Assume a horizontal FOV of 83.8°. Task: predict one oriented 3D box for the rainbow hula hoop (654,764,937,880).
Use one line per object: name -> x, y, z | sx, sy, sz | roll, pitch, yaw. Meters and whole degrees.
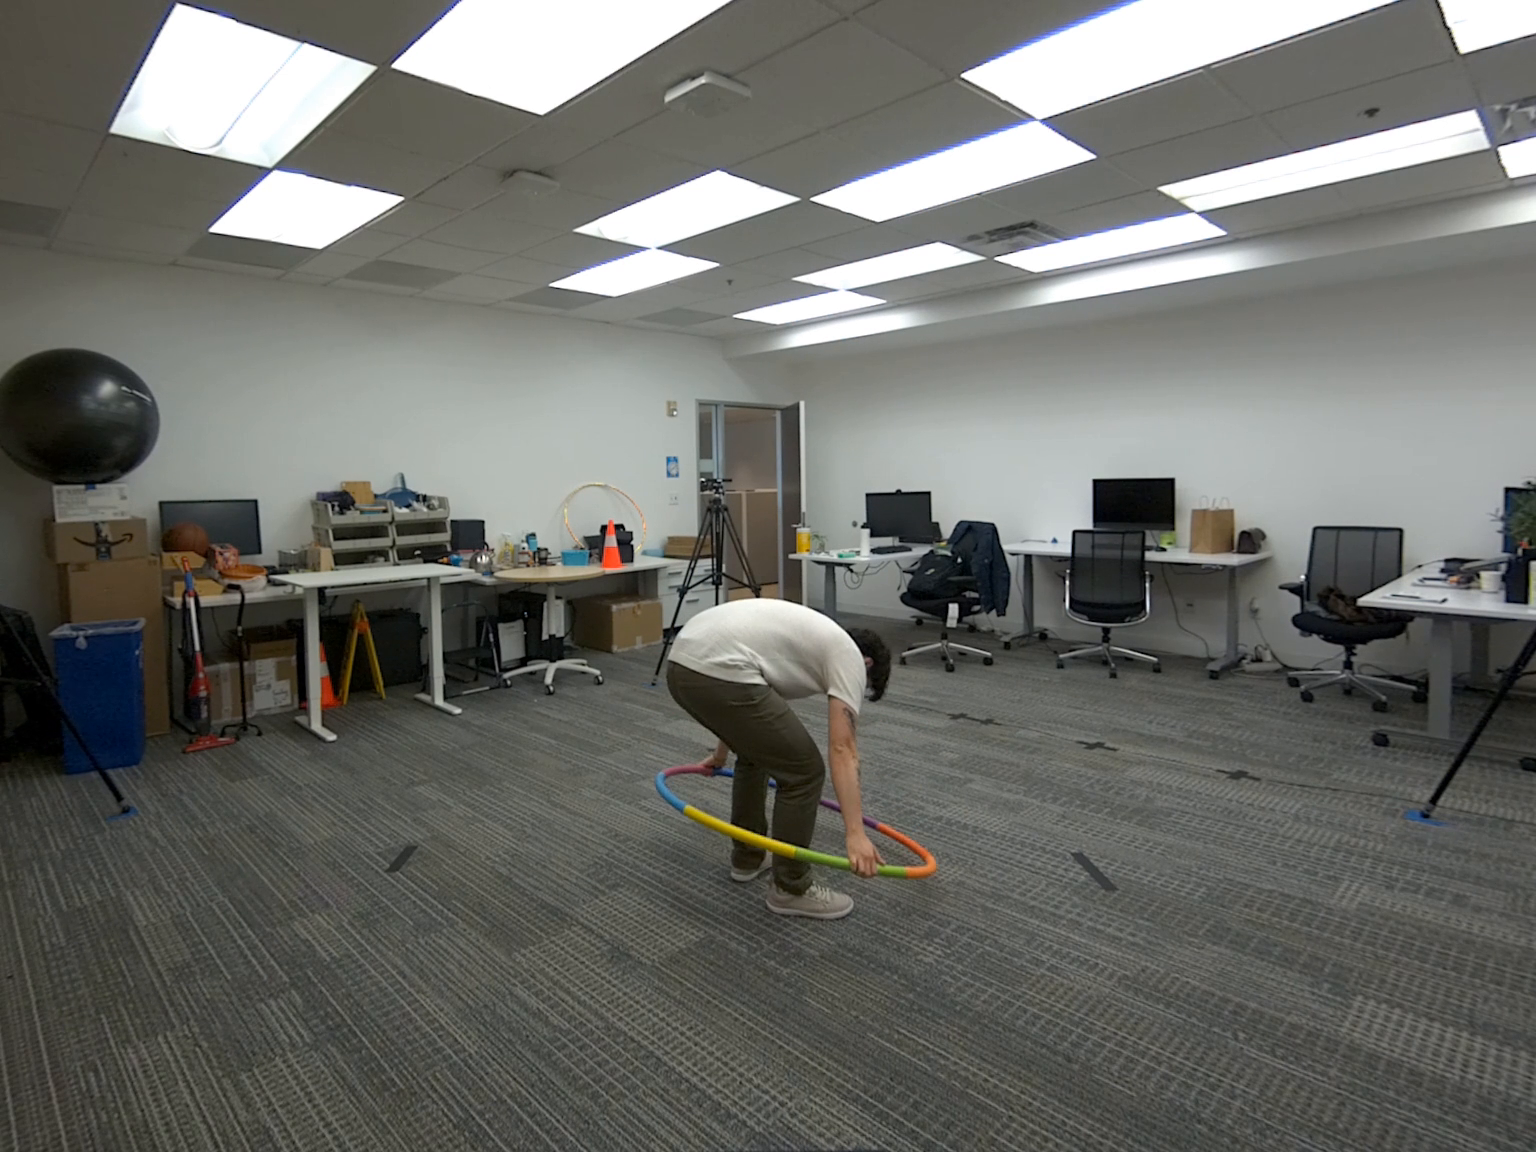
rainbow hula hoop -> 0.105, 0.820, 2.950 | 0.979, 0.035, 0.976 | 15, -3, -1
